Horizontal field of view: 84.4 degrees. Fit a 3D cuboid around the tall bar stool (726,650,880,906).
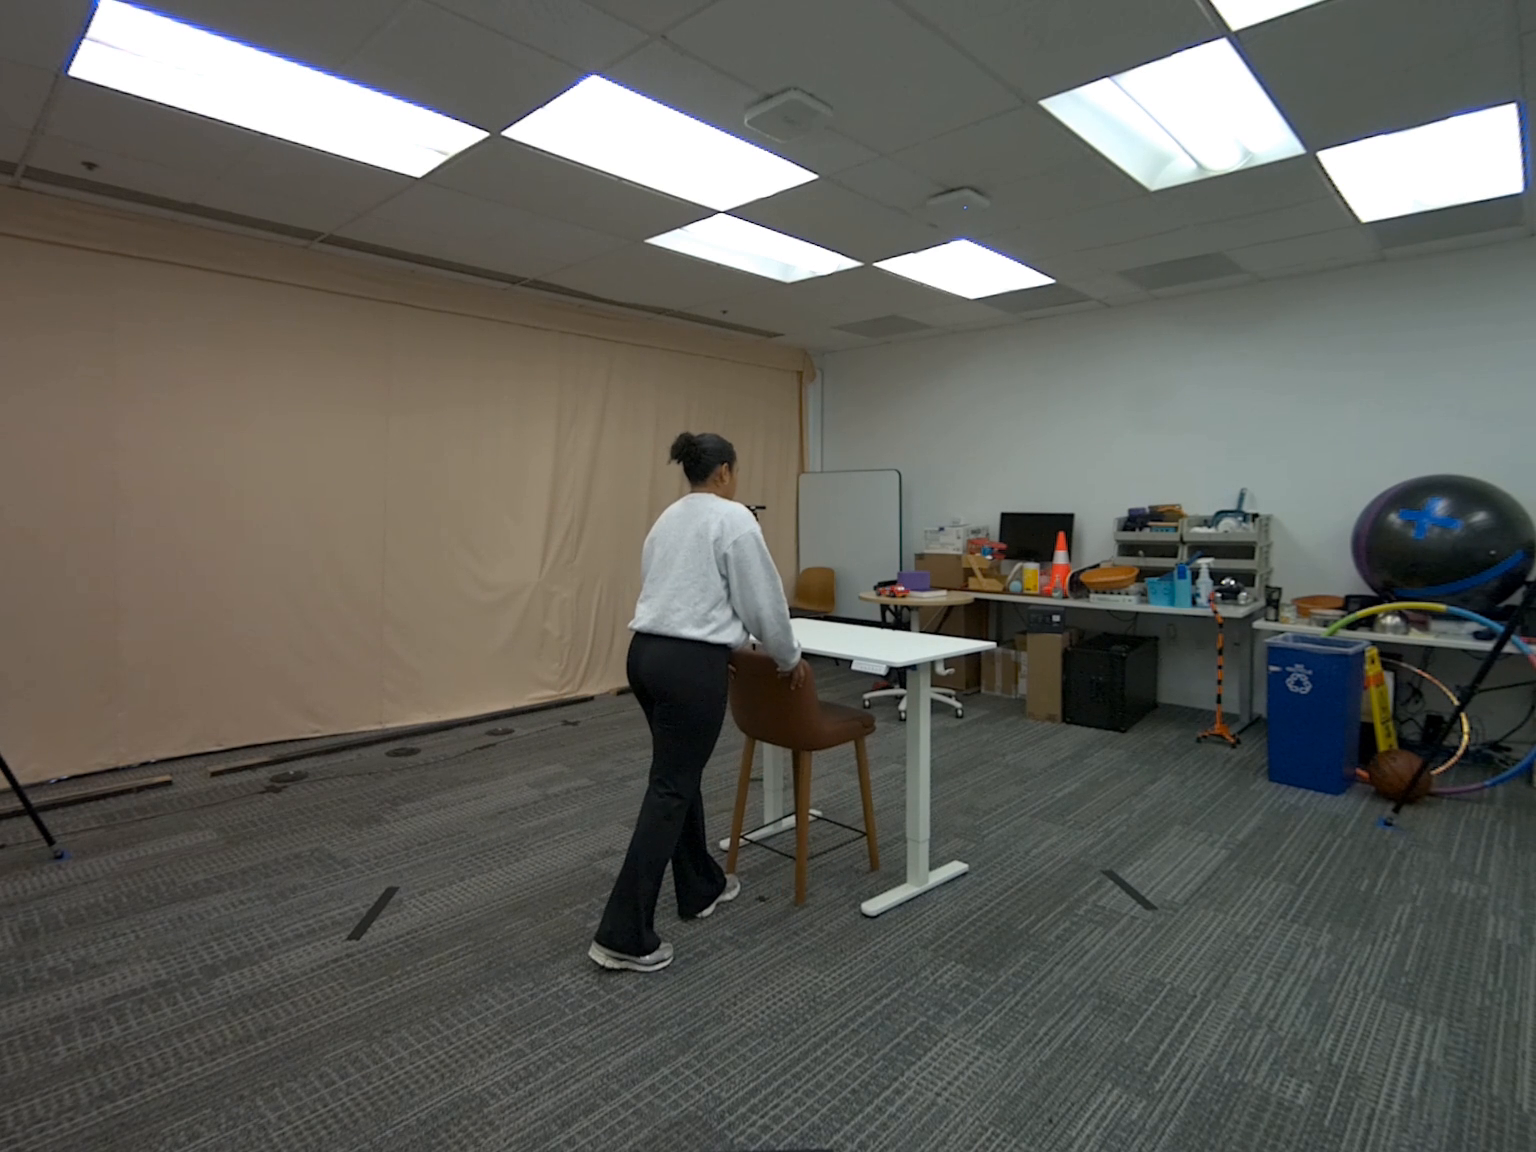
[{"bbox_3d":[0.119,0.689,3.175,0.454,0.887,0.472,-6,6,-44],"label":"tall bar stool"}]
